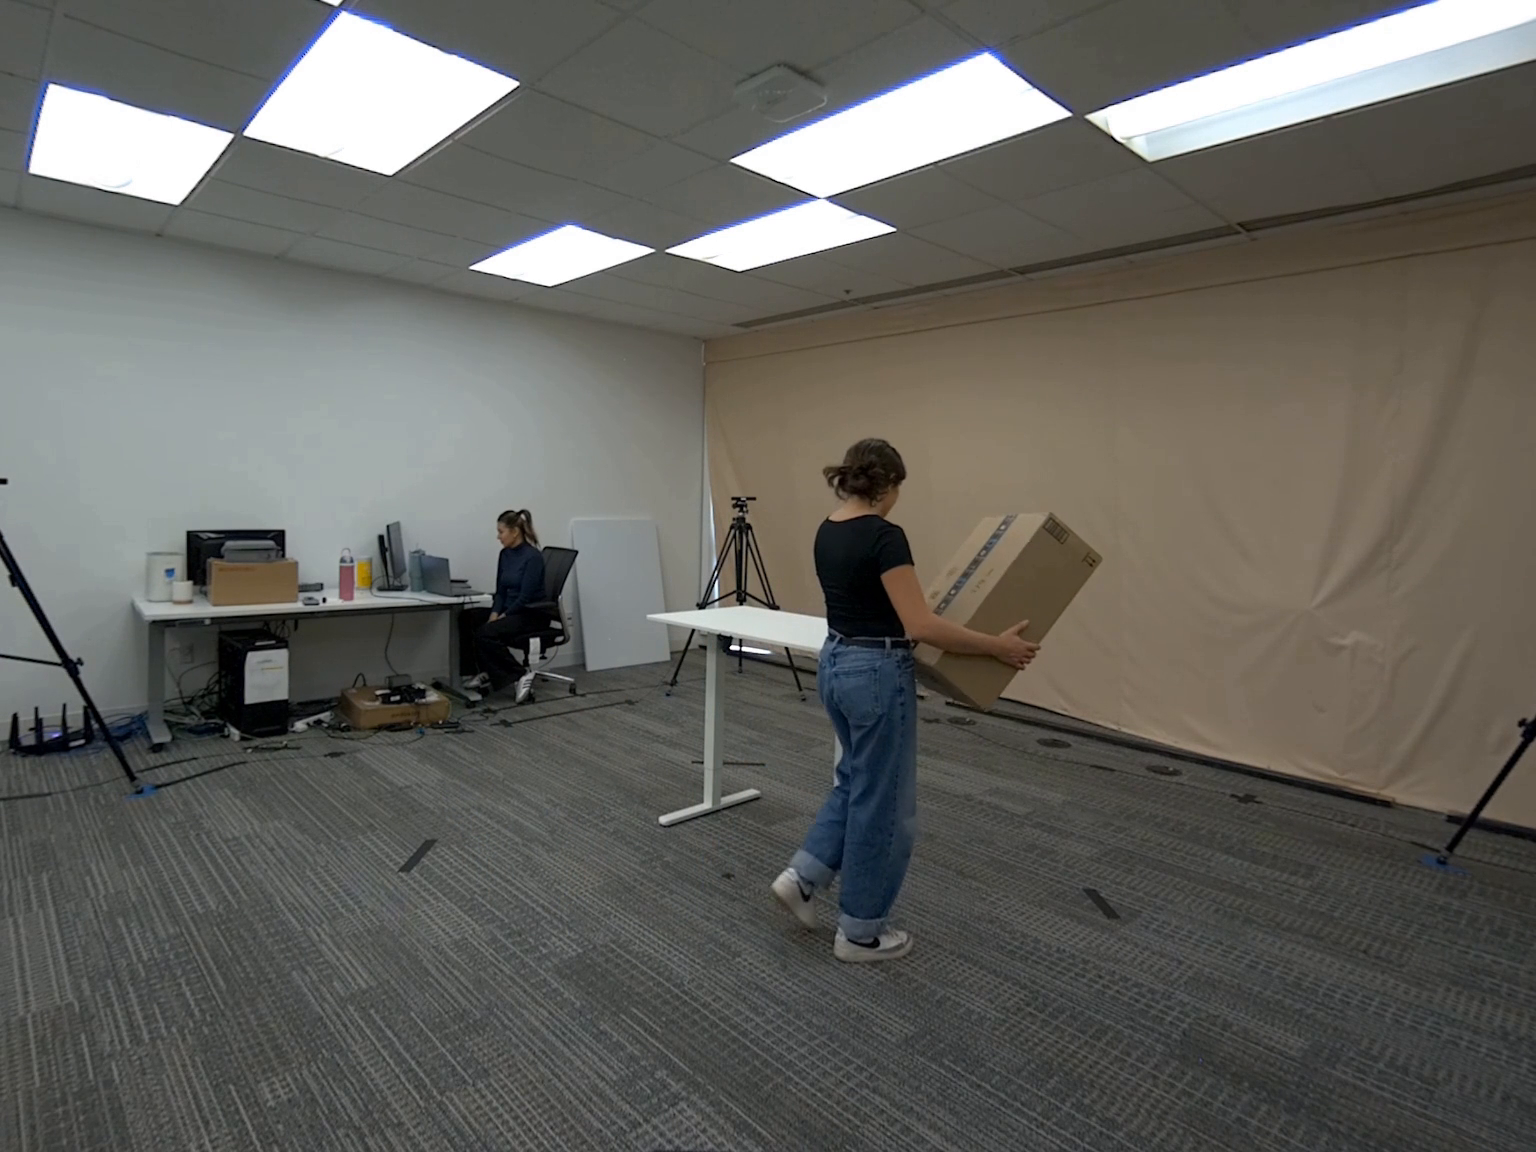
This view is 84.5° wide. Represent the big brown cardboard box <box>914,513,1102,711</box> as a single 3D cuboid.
[{"bbox_3d":[0.666,0.094,2.585,0.231,0.589,0.421,40,-5,-9],"label":"big brown cardboard box"}]
